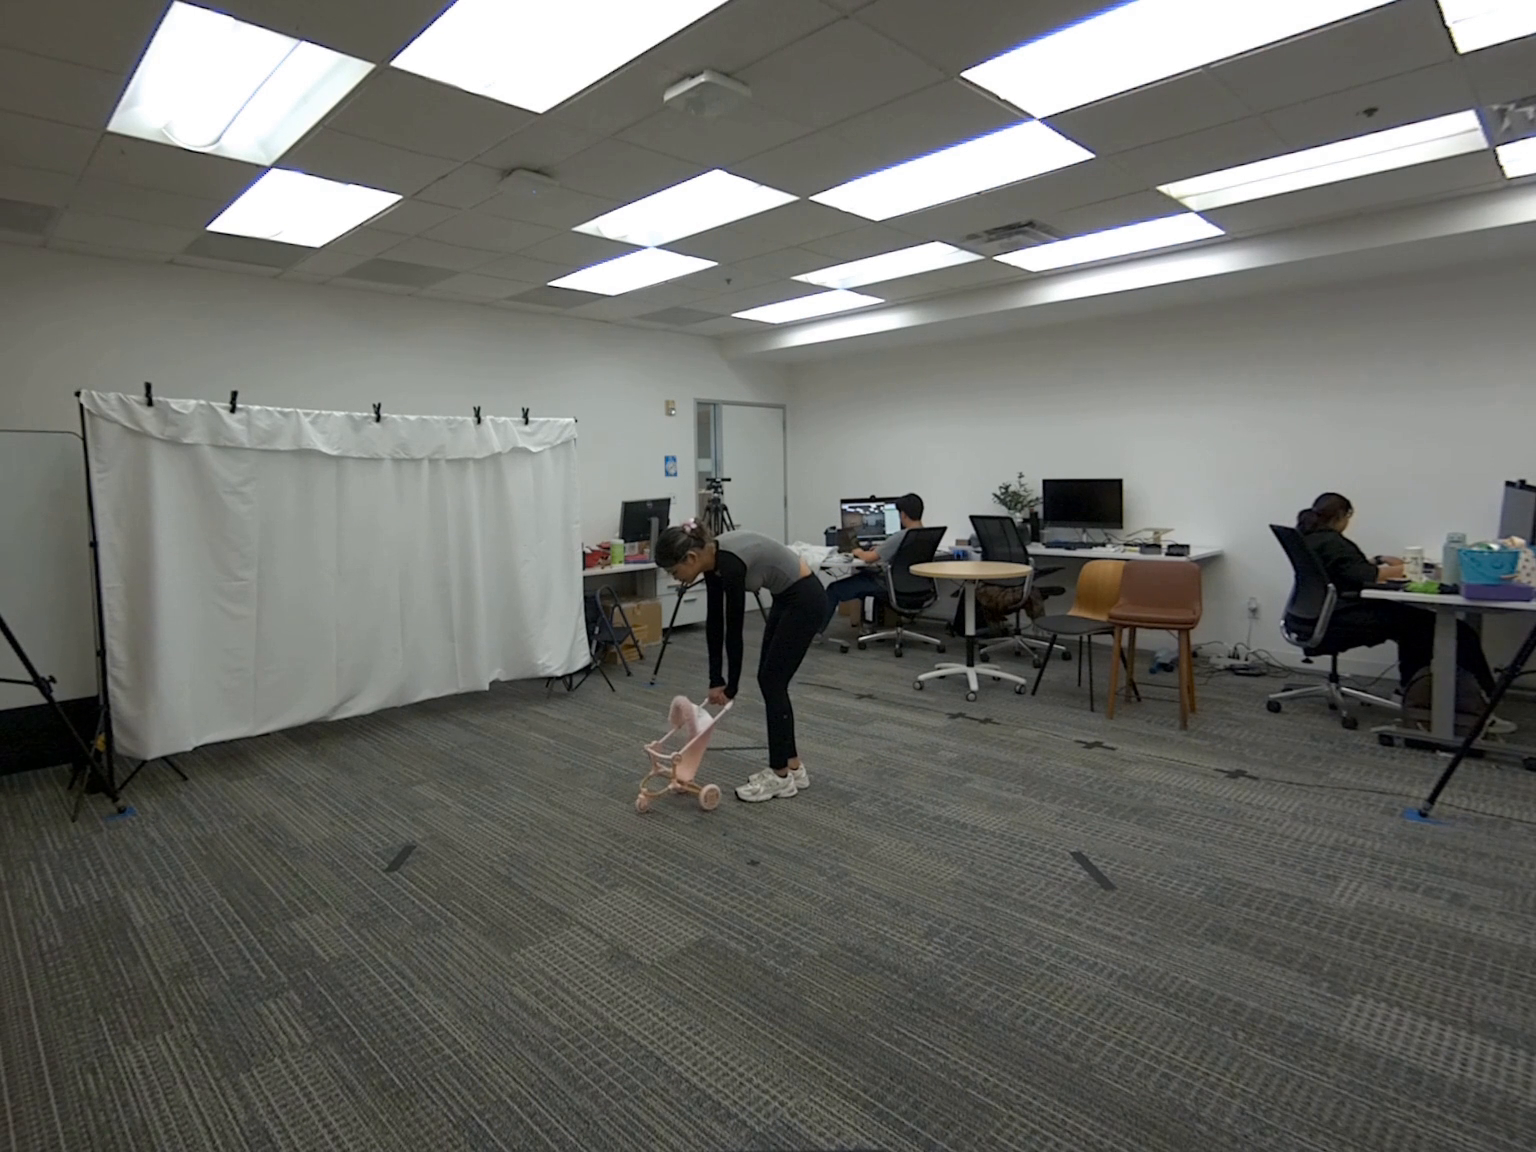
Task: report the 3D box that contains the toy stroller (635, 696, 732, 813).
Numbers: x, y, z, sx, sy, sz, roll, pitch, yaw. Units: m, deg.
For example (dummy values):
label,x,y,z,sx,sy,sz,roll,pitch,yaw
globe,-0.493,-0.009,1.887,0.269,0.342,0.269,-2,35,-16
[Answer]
label,x,y,z,sx,sy,sz,roll,pitch,yaw
toy stroller,-0.378,0.755,3.670,0.332,0.536,0.289,12,-3,-28
